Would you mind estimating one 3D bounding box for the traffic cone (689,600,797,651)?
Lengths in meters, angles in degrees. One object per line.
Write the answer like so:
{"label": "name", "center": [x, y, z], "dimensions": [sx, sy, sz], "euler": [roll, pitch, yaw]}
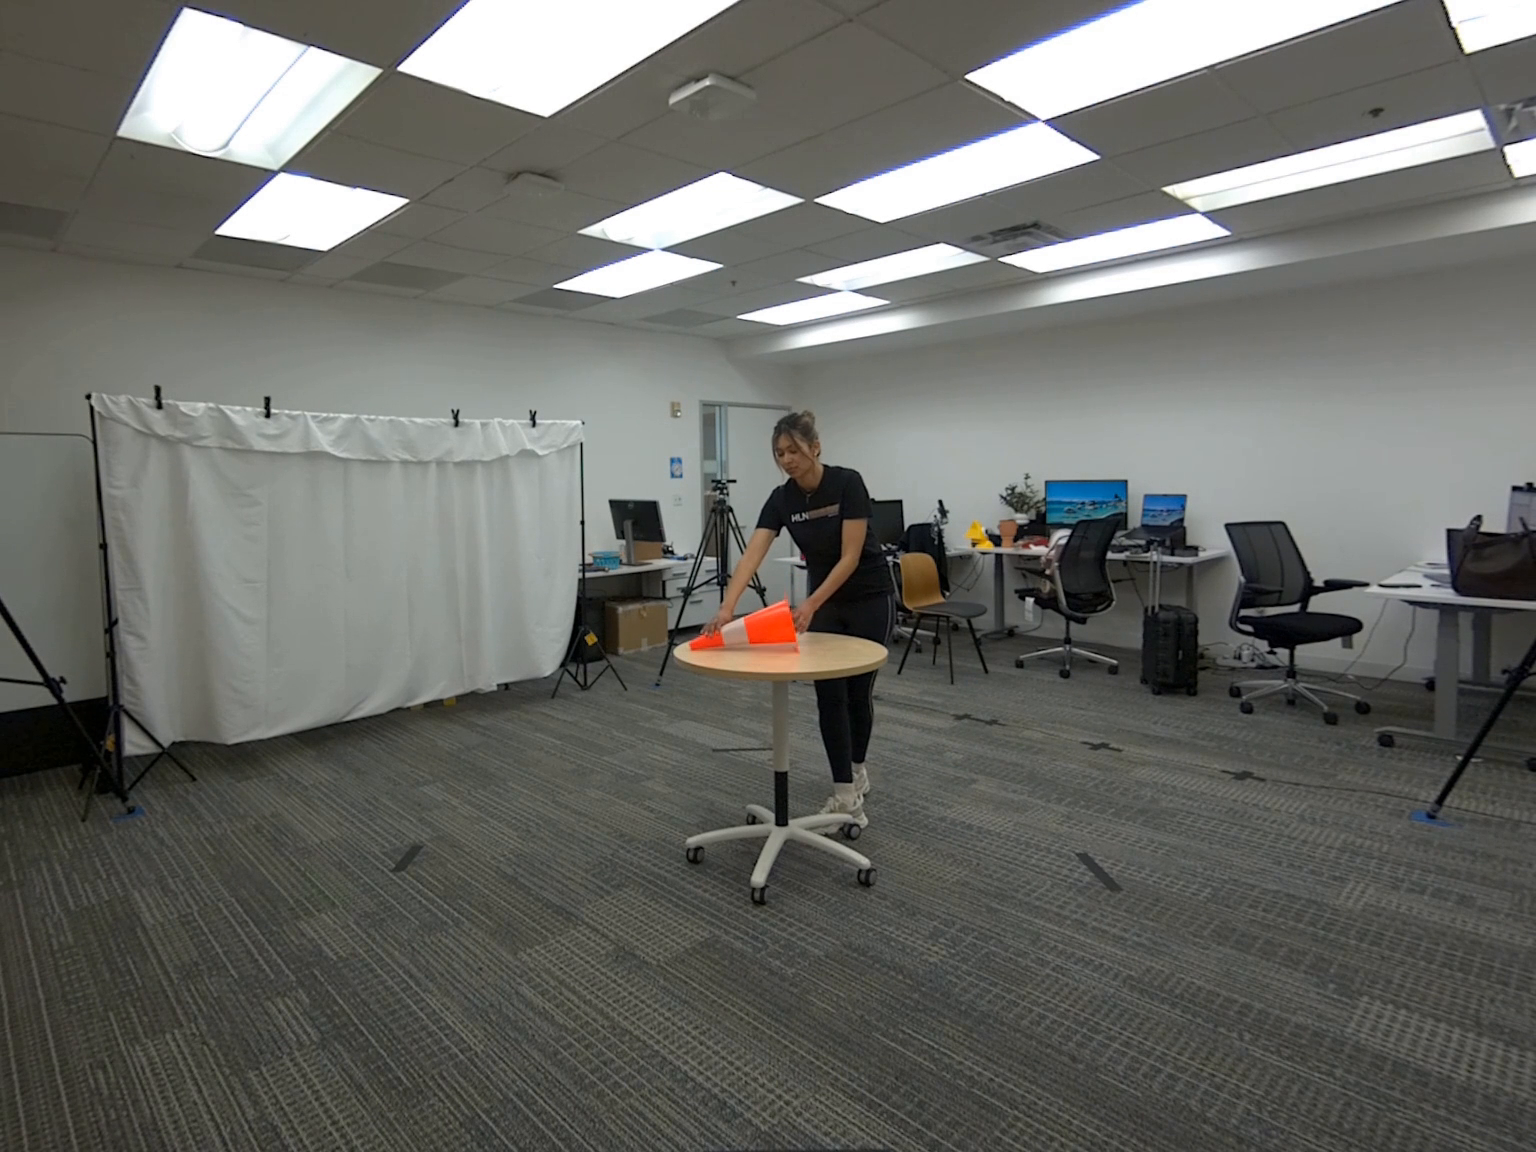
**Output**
{"label": "traffic cone", "center": [-0.096, 0.208, 3.079], "dimensions": [0.384, 0.203, 0.205], "euler": [-13, 9, 2]}
